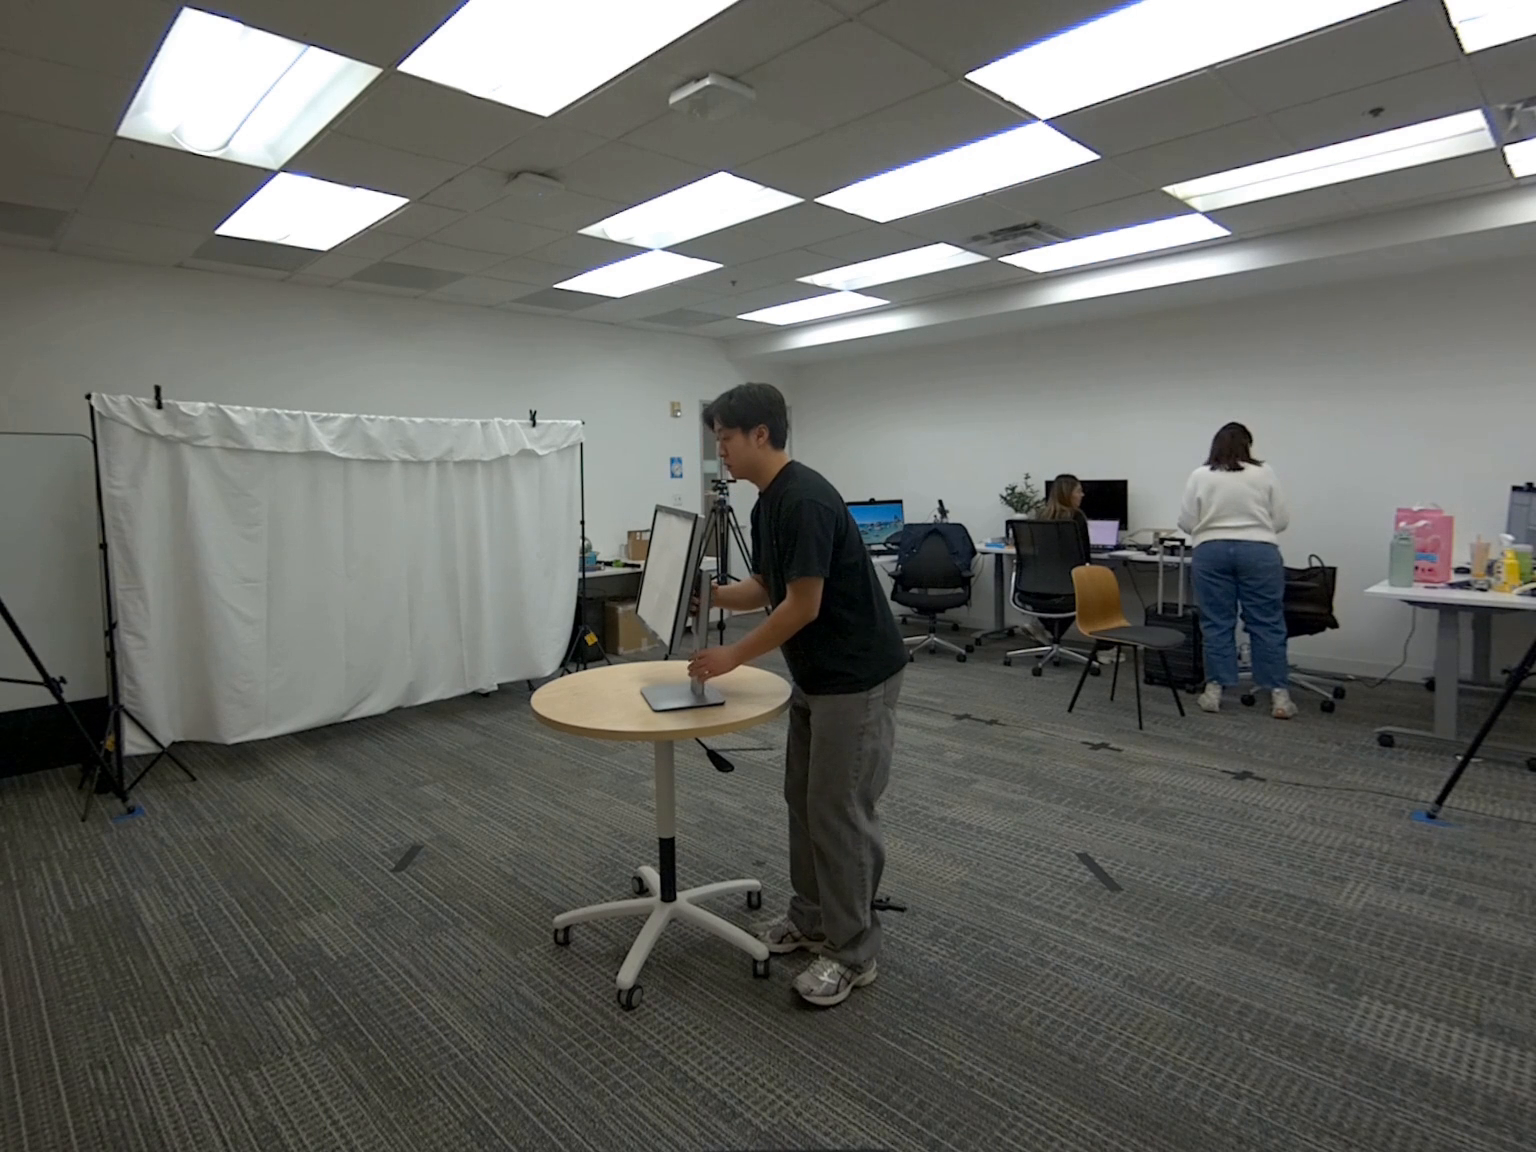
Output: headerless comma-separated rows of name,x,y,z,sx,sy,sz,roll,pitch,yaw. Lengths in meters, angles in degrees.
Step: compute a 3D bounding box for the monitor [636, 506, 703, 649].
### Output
monitor,-0.254,0.088,2.415,0.220,0.563,0.571,-4,6,-14
